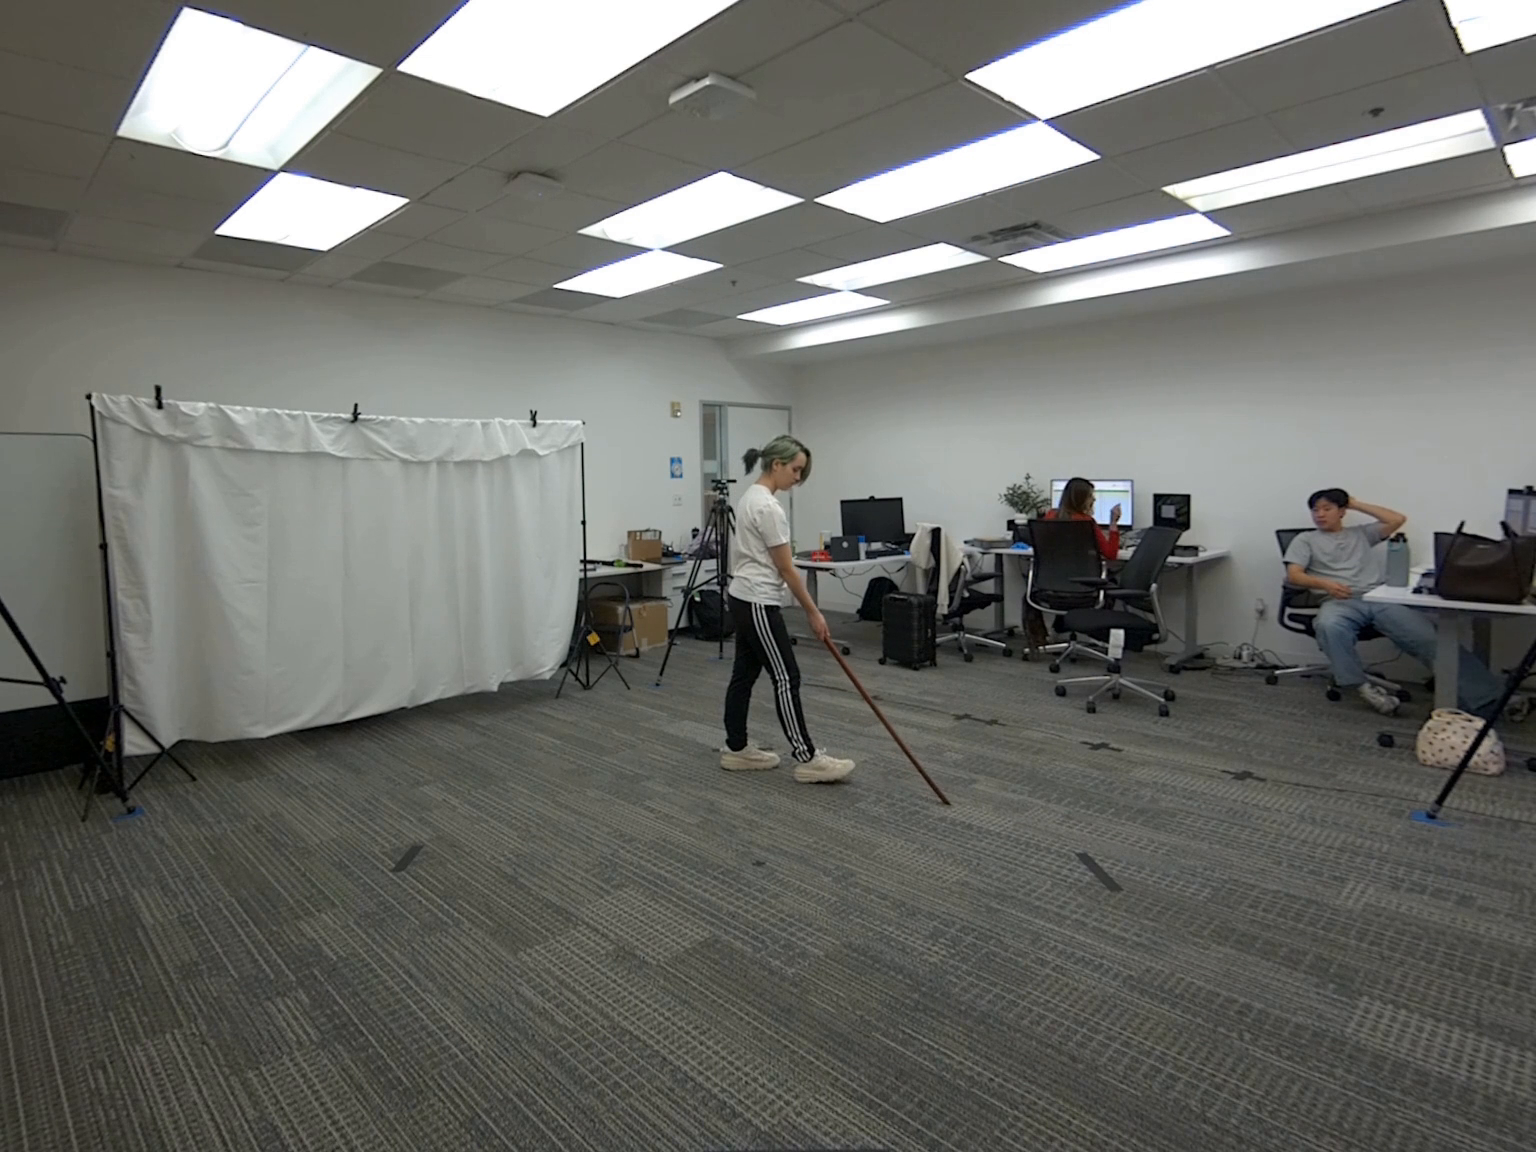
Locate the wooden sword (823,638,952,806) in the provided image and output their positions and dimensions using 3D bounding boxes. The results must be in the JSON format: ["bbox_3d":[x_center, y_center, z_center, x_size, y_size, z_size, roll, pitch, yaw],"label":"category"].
[{"bbox_3d":[0.481,0.584,3.866,0.024,1.057,0.050,-22,-29,-27],"label":"wooden sword"}]
